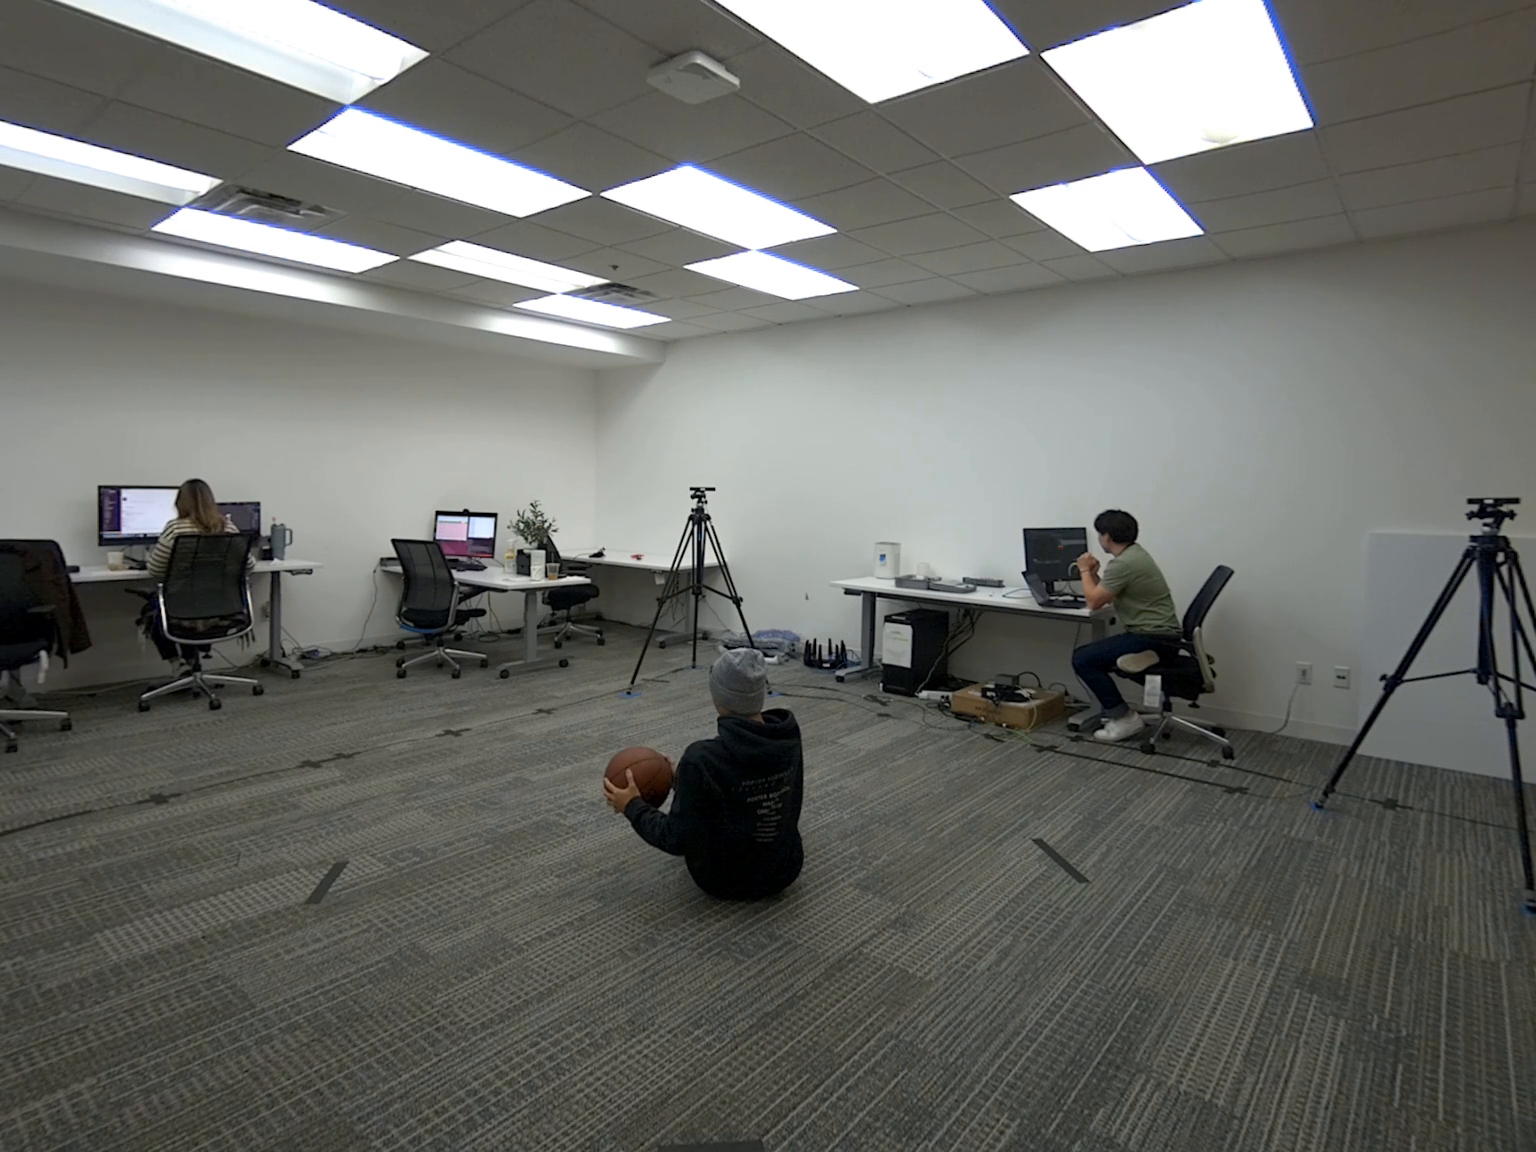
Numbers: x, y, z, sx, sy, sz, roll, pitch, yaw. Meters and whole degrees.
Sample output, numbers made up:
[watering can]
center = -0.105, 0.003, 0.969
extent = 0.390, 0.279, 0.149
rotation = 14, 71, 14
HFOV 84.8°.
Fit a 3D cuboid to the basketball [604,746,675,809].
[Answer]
[basketball]
center = -0.466, 0.712, 3.007
extent = 0.235, 0.235, 0.237
rotation = 1, 4, -2
